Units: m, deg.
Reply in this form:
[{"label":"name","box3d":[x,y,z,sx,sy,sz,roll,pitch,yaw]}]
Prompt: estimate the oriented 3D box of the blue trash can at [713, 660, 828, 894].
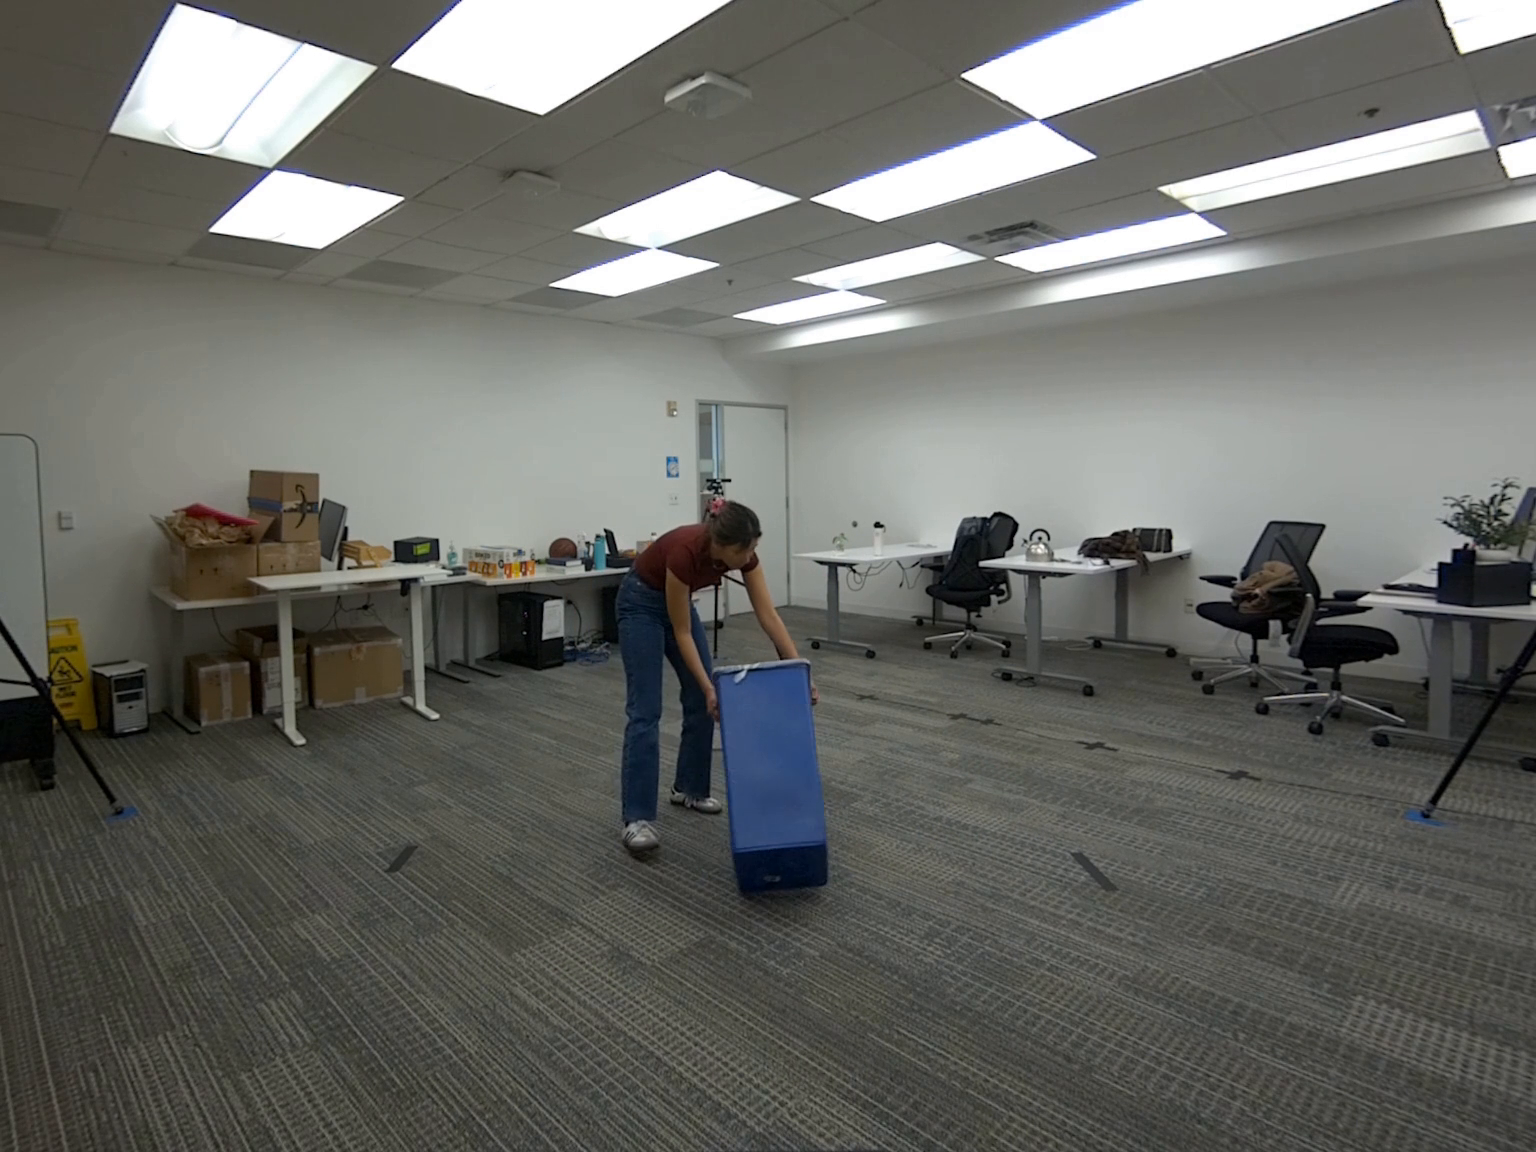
[{"label":"blue trash can","box3d":[0.005,0.705,3.049,0.378,0.363,0.735,-6,45,-1]}]
